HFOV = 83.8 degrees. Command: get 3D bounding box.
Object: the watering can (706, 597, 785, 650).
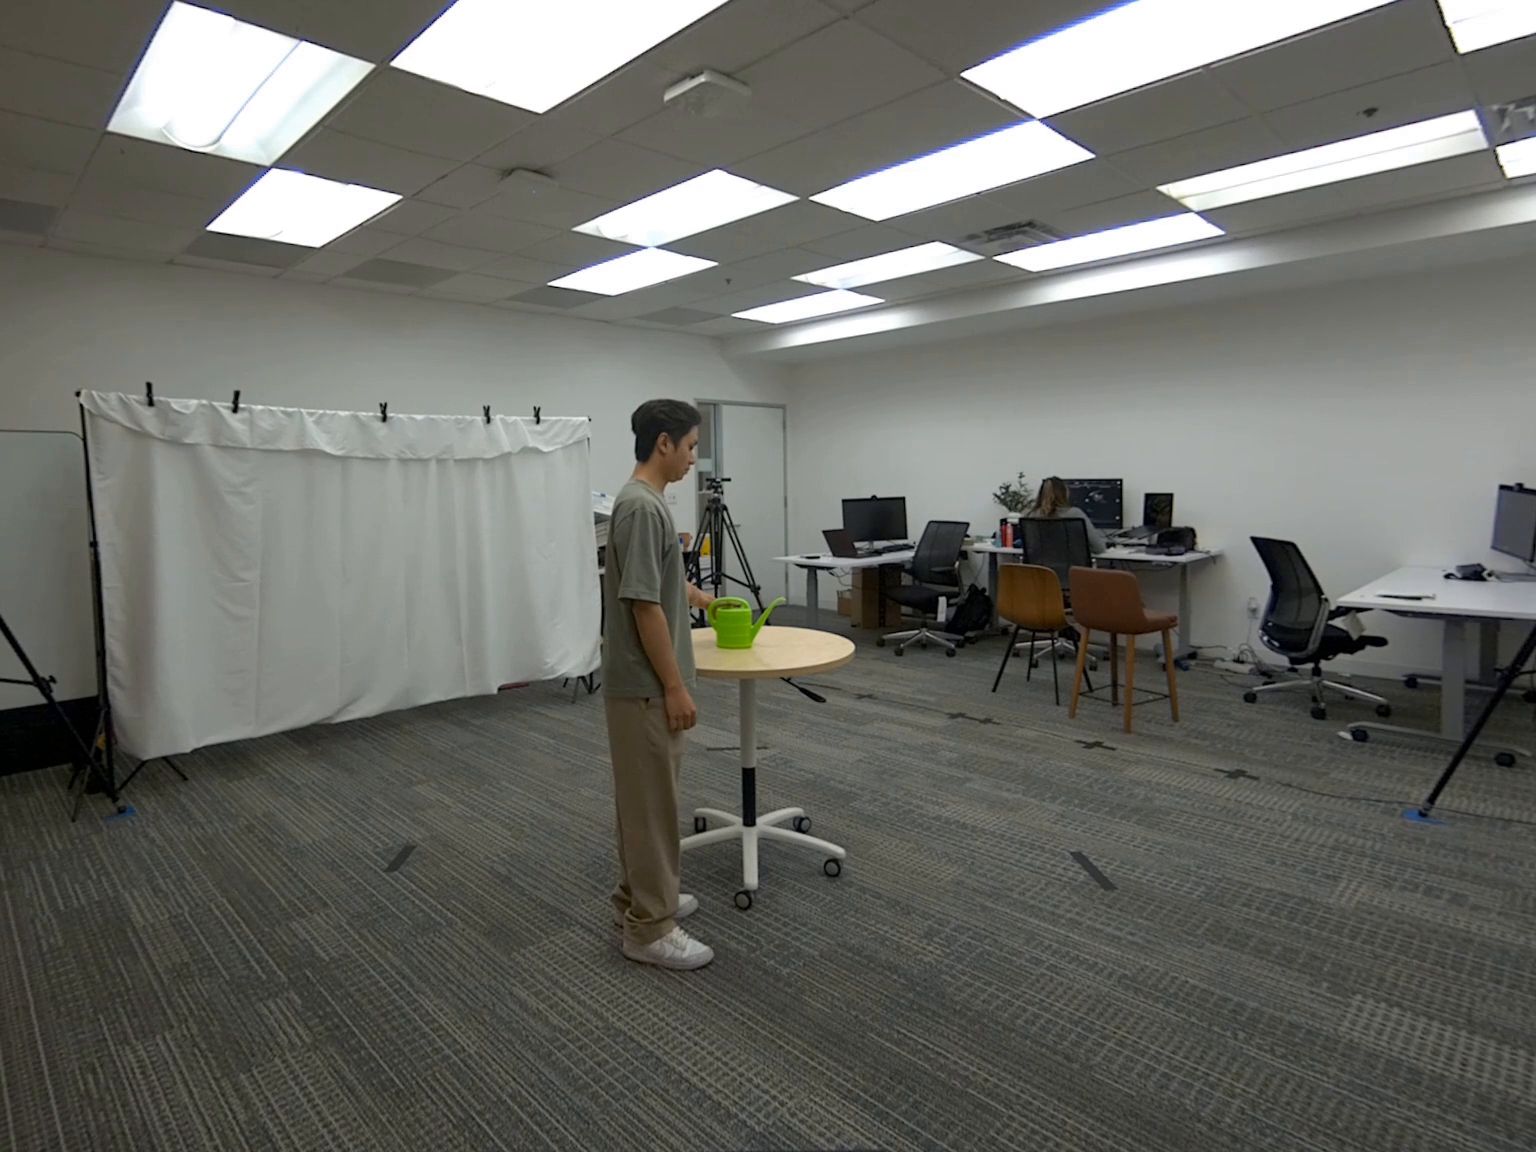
[{"bbox_3d":[-0.079,0.172,3.011,0.286,0.176,0.095,3,6,37],"label":"watering can"}]
